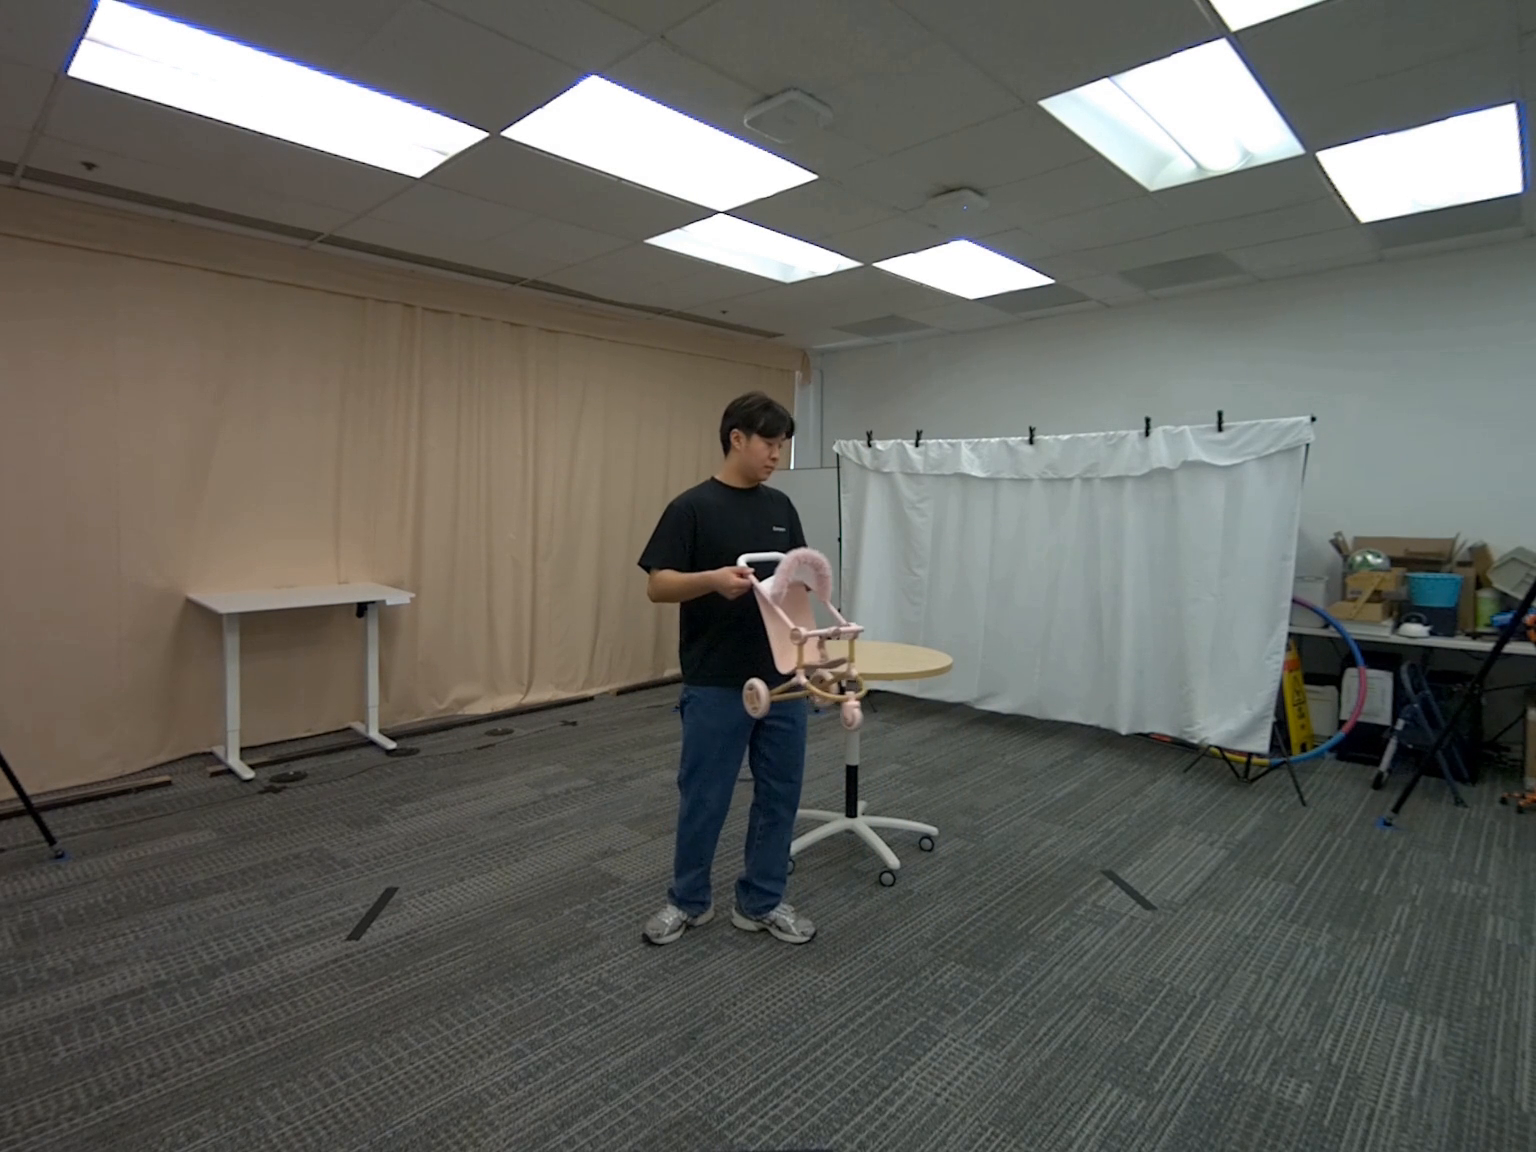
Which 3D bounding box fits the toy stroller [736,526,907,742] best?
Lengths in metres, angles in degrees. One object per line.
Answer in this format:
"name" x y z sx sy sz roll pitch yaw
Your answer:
"toy stroller" 0.114 0.165 2.335 0.273 0.539 0.348 -2 -12 -33
